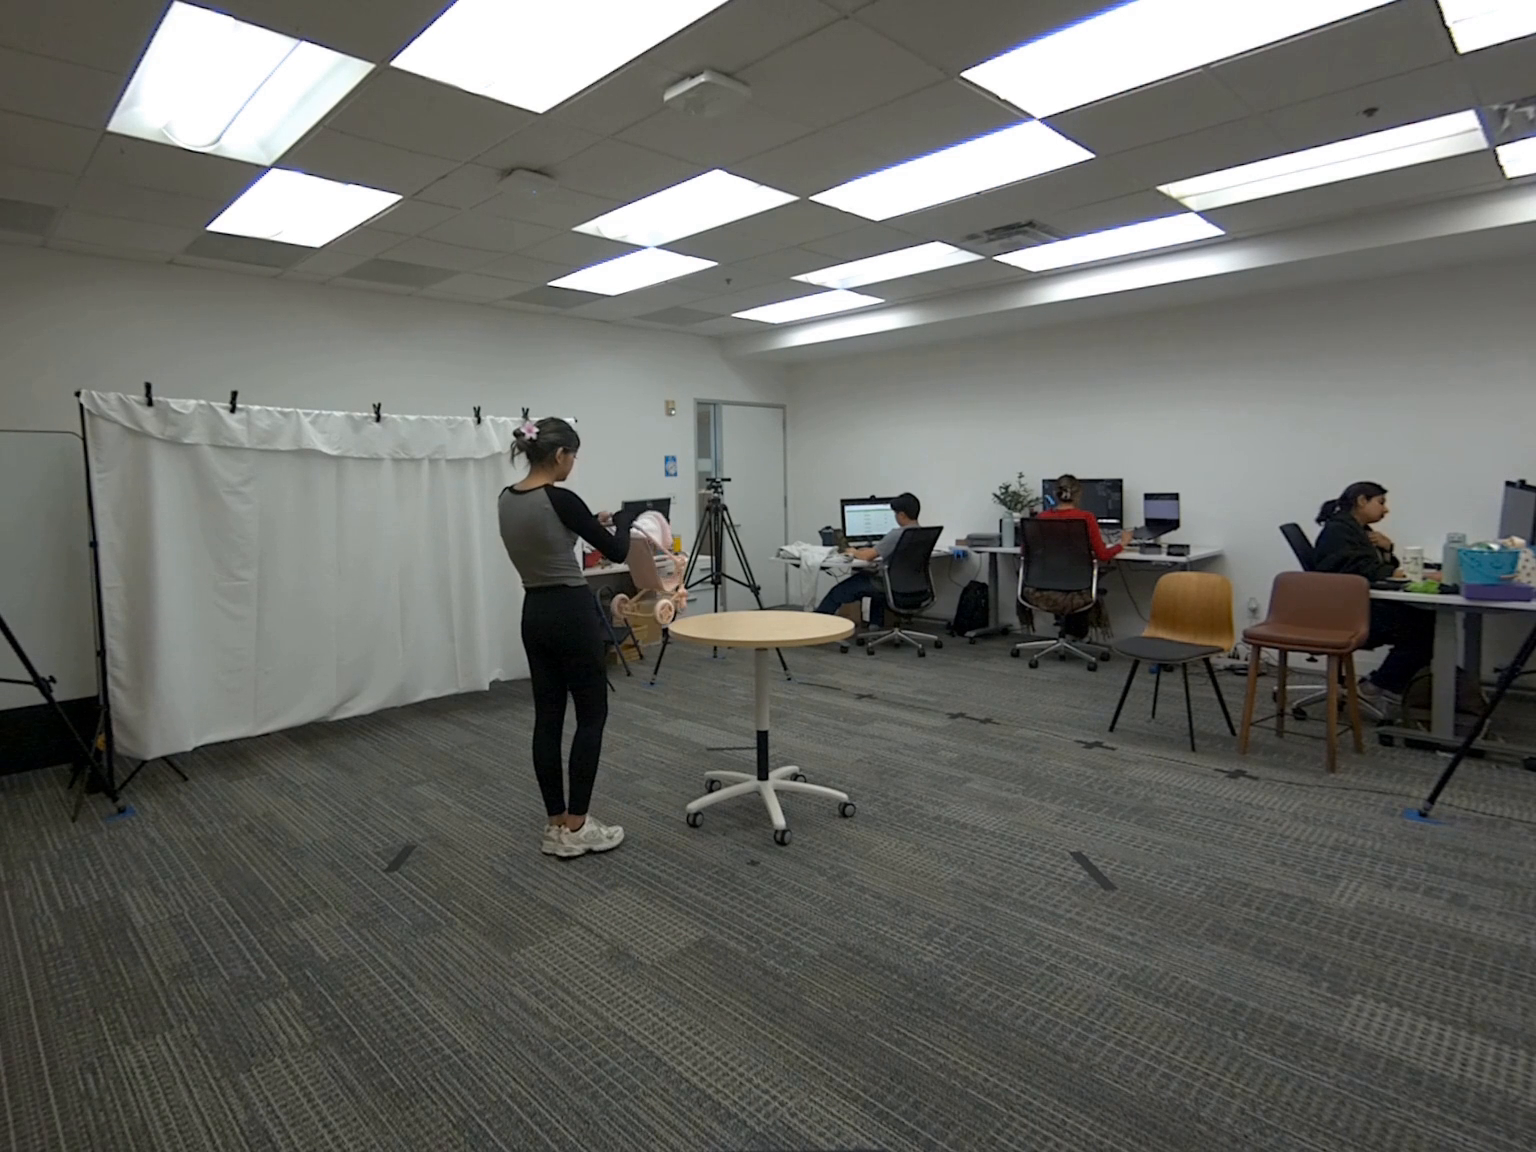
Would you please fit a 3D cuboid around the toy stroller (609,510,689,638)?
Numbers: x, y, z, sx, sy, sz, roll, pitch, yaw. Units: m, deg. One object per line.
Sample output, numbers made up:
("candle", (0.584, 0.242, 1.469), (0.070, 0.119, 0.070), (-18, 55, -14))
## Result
("toy stroller", (-0.496, -0.034, 3.677), (0.290, 0.527, 0.336), (5, 20, 40))
